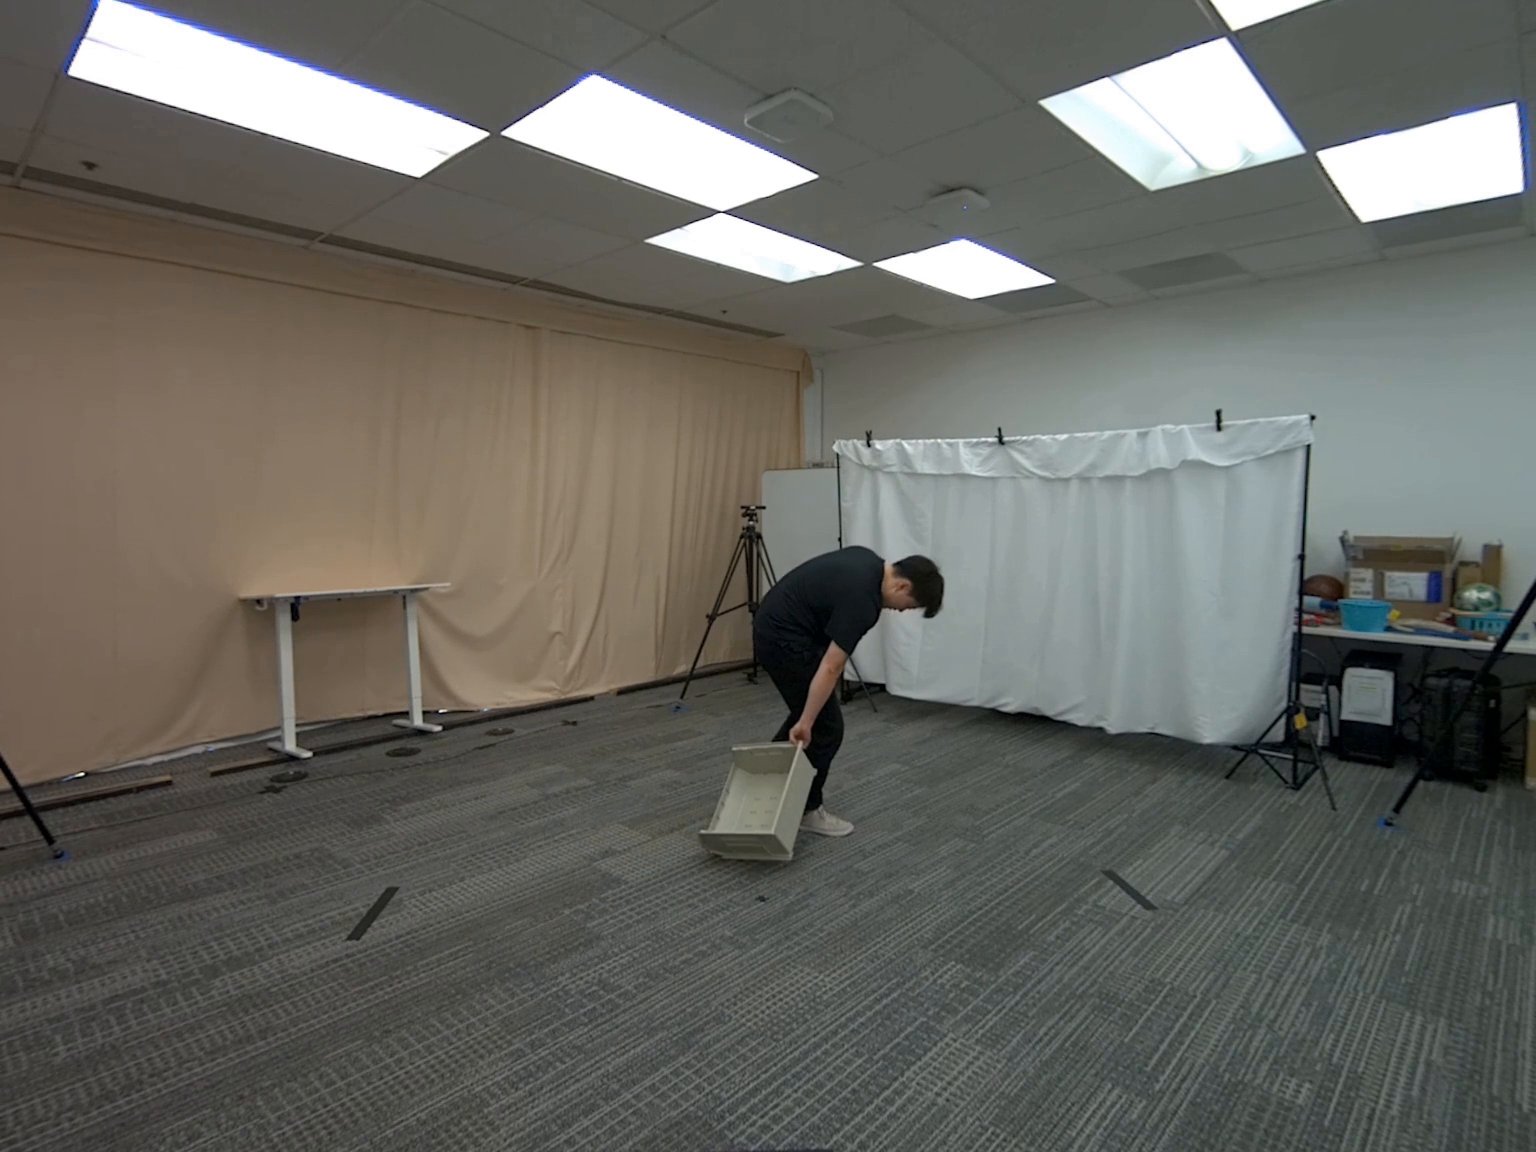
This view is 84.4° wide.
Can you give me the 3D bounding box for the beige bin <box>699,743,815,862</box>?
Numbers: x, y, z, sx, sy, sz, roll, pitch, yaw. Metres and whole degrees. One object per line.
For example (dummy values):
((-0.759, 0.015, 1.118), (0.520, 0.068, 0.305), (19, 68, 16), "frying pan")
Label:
((-0.046, 0.893, 3.357), (0.387, 0.184, 0.423), (-10, 35, 30), "beige bin")
